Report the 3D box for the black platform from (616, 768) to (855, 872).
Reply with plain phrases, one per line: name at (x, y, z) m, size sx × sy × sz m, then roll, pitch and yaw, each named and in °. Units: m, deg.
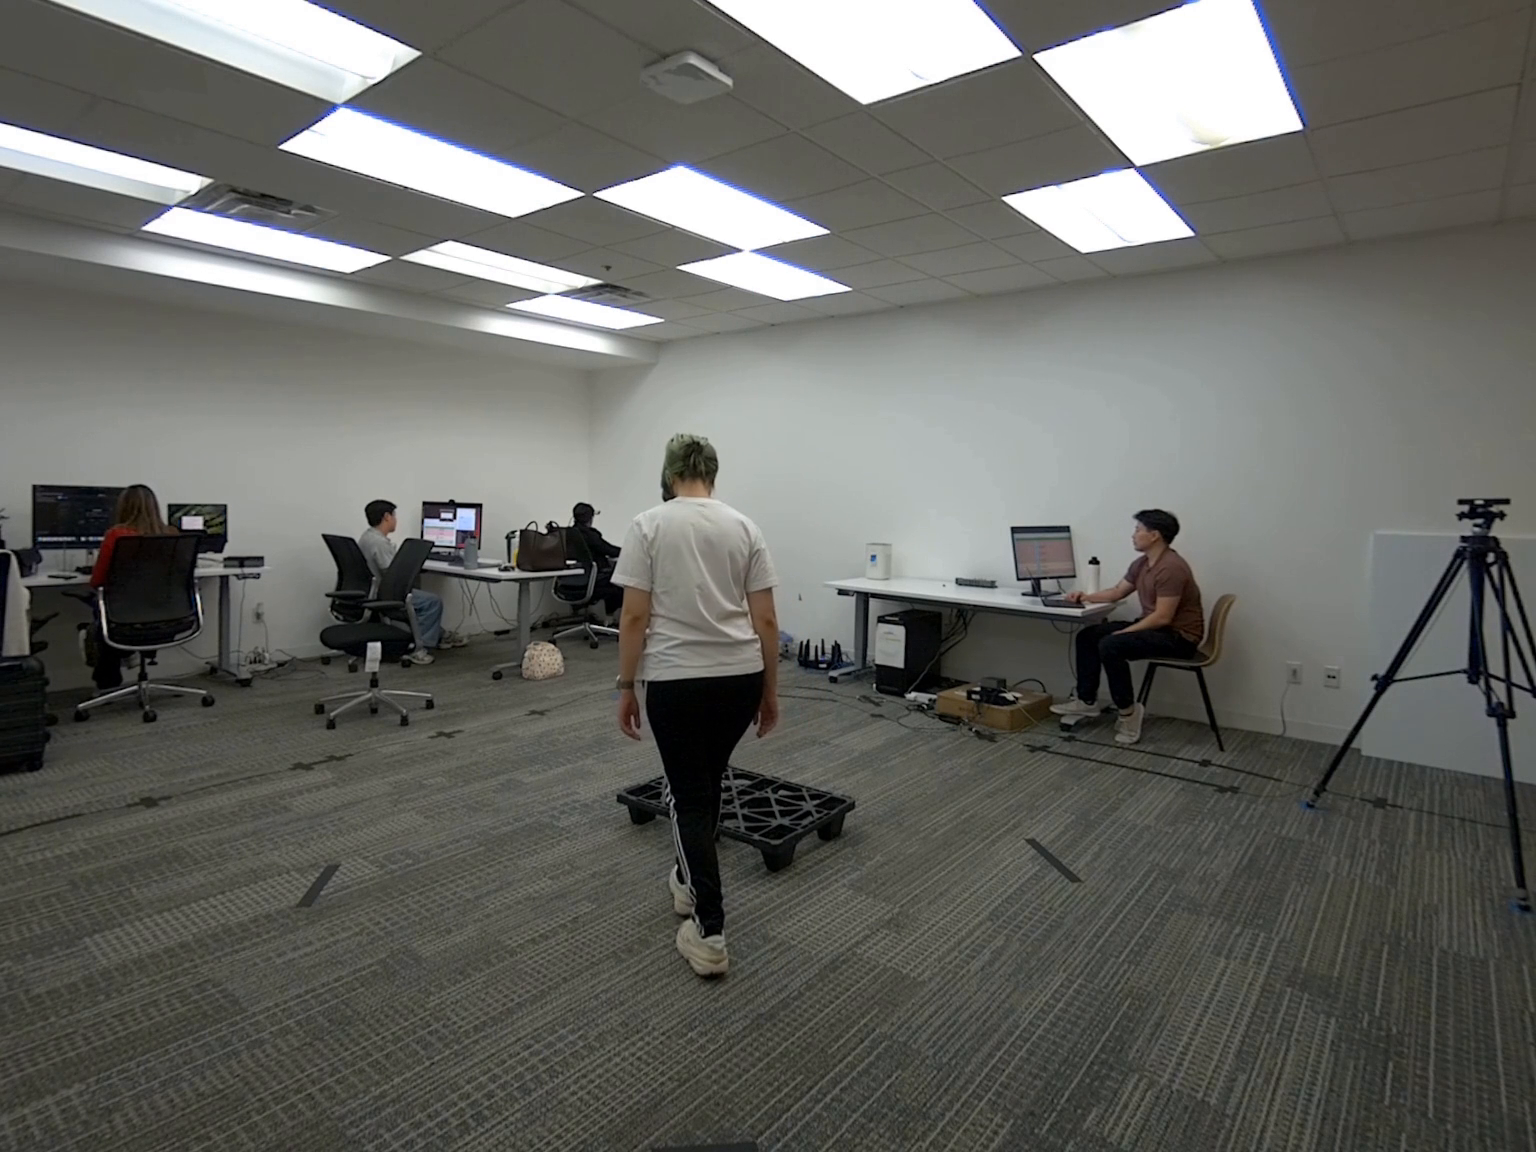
black platform at (-0.141, 0.968, 3.490) m, size 0.832 × 0.143 × 0.588 m, roll 5°, pitch 7°, yaw 36°
